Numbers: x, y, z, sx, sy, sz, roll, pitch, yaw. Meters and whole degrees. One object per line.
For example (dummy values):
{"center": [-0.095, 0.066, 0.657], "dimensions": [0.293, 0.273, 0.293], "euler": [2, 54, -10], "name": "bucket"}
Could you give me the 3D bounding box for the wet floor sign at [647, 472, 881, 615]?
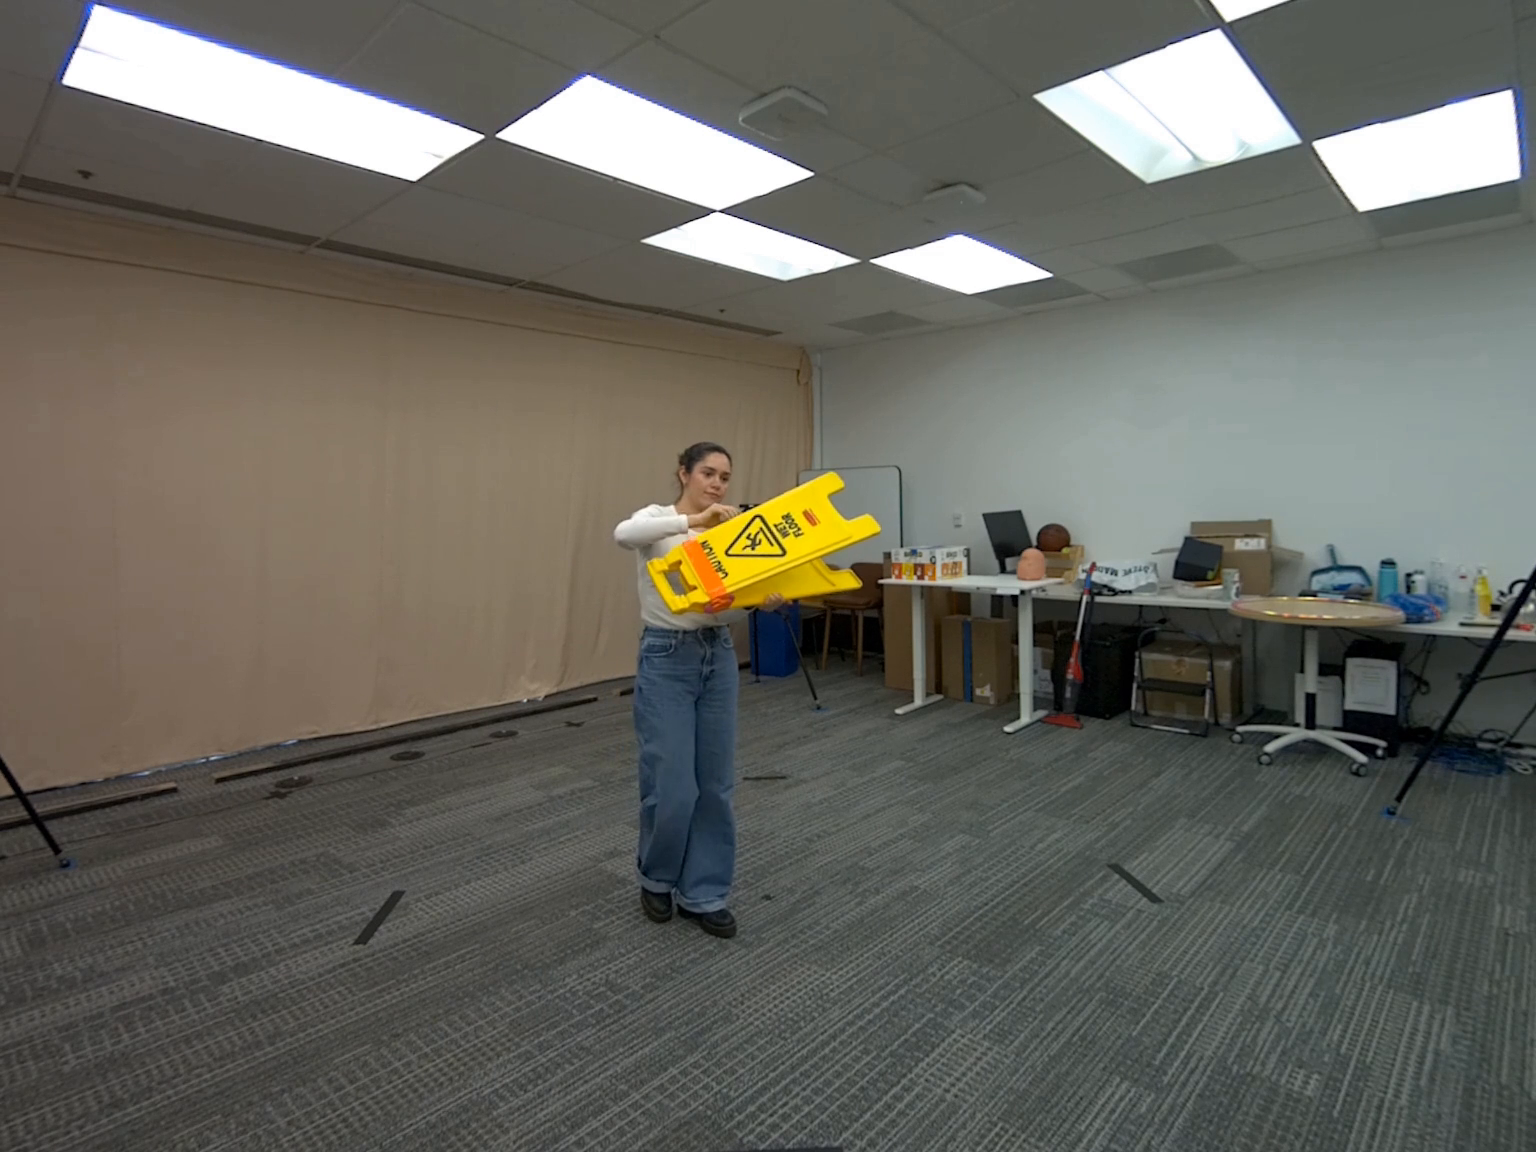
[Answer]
{"center": [-0.027, -0.041, 2.506], "dimensions": [0.636, 0.285, 0.291], "euler": [-17, 53, -20], "name": "wet floor sign"}
